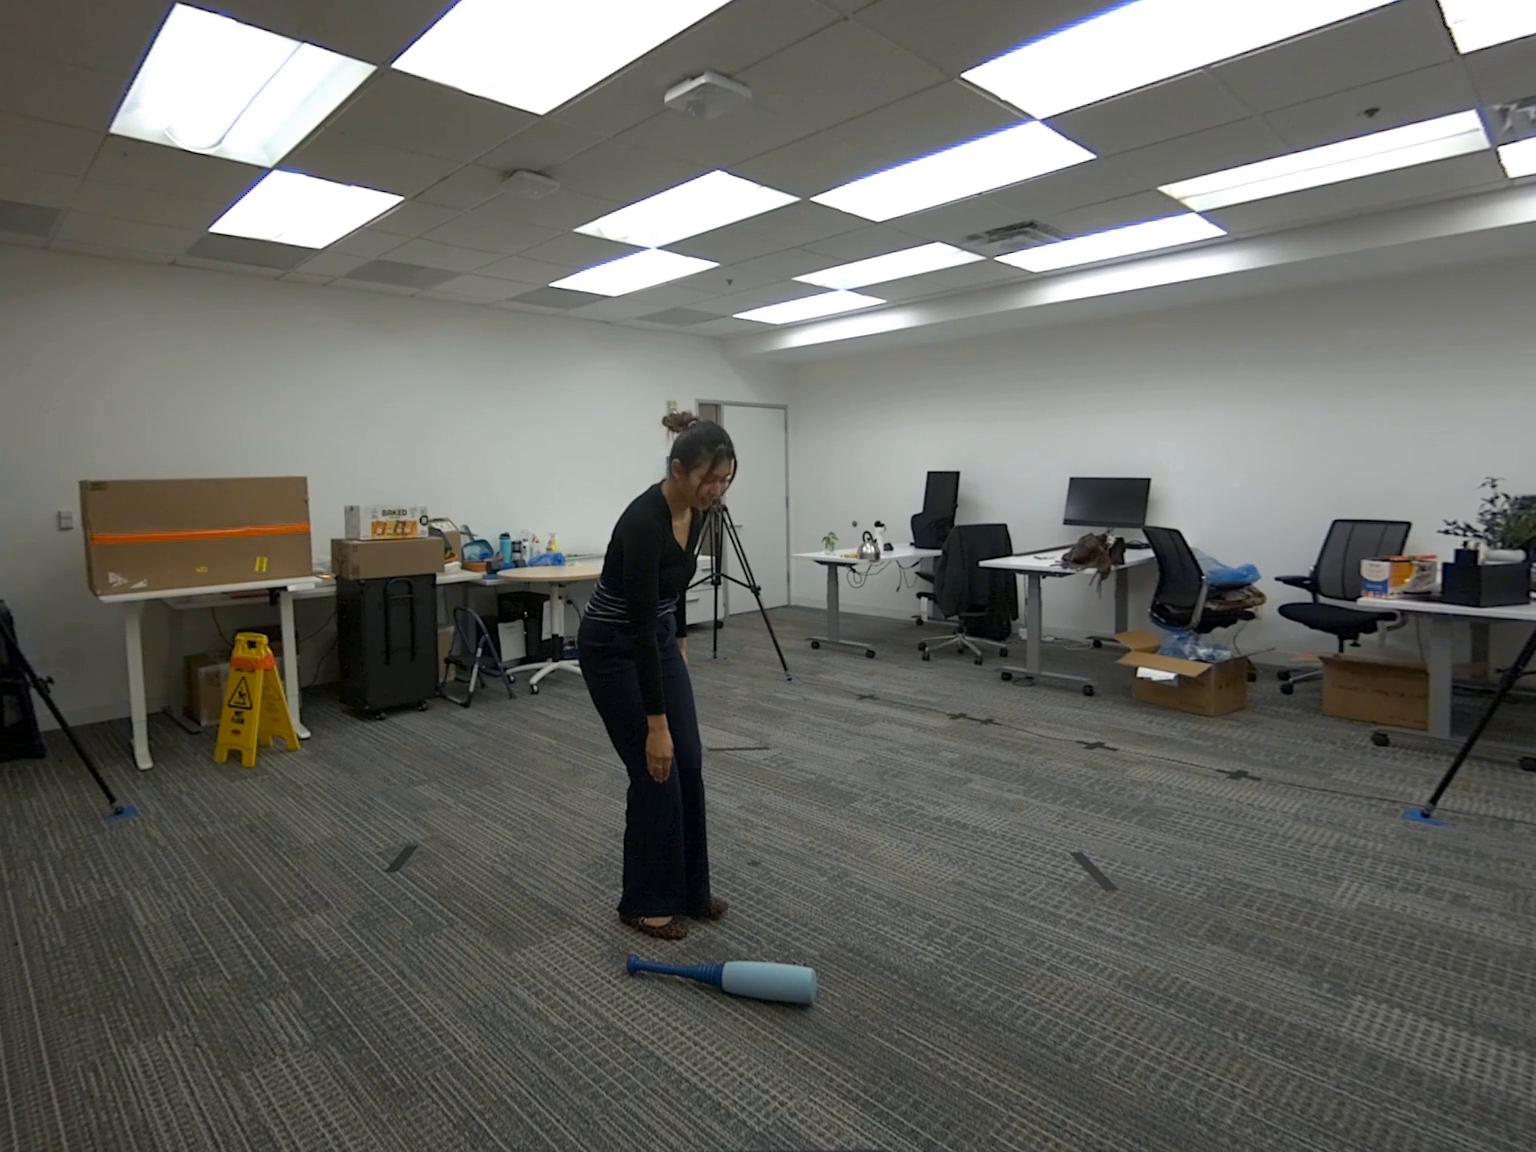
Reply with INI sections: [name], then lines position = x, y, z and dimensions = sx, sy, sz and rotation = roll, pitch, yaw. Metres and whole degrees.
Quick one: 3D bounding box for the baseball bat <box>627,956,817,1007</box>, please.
[baseball bat]
position = -0.131, 1.099, 2.349
dimensions = 0.552, 0.089, 0.088
rotation = -3, 4, 18
